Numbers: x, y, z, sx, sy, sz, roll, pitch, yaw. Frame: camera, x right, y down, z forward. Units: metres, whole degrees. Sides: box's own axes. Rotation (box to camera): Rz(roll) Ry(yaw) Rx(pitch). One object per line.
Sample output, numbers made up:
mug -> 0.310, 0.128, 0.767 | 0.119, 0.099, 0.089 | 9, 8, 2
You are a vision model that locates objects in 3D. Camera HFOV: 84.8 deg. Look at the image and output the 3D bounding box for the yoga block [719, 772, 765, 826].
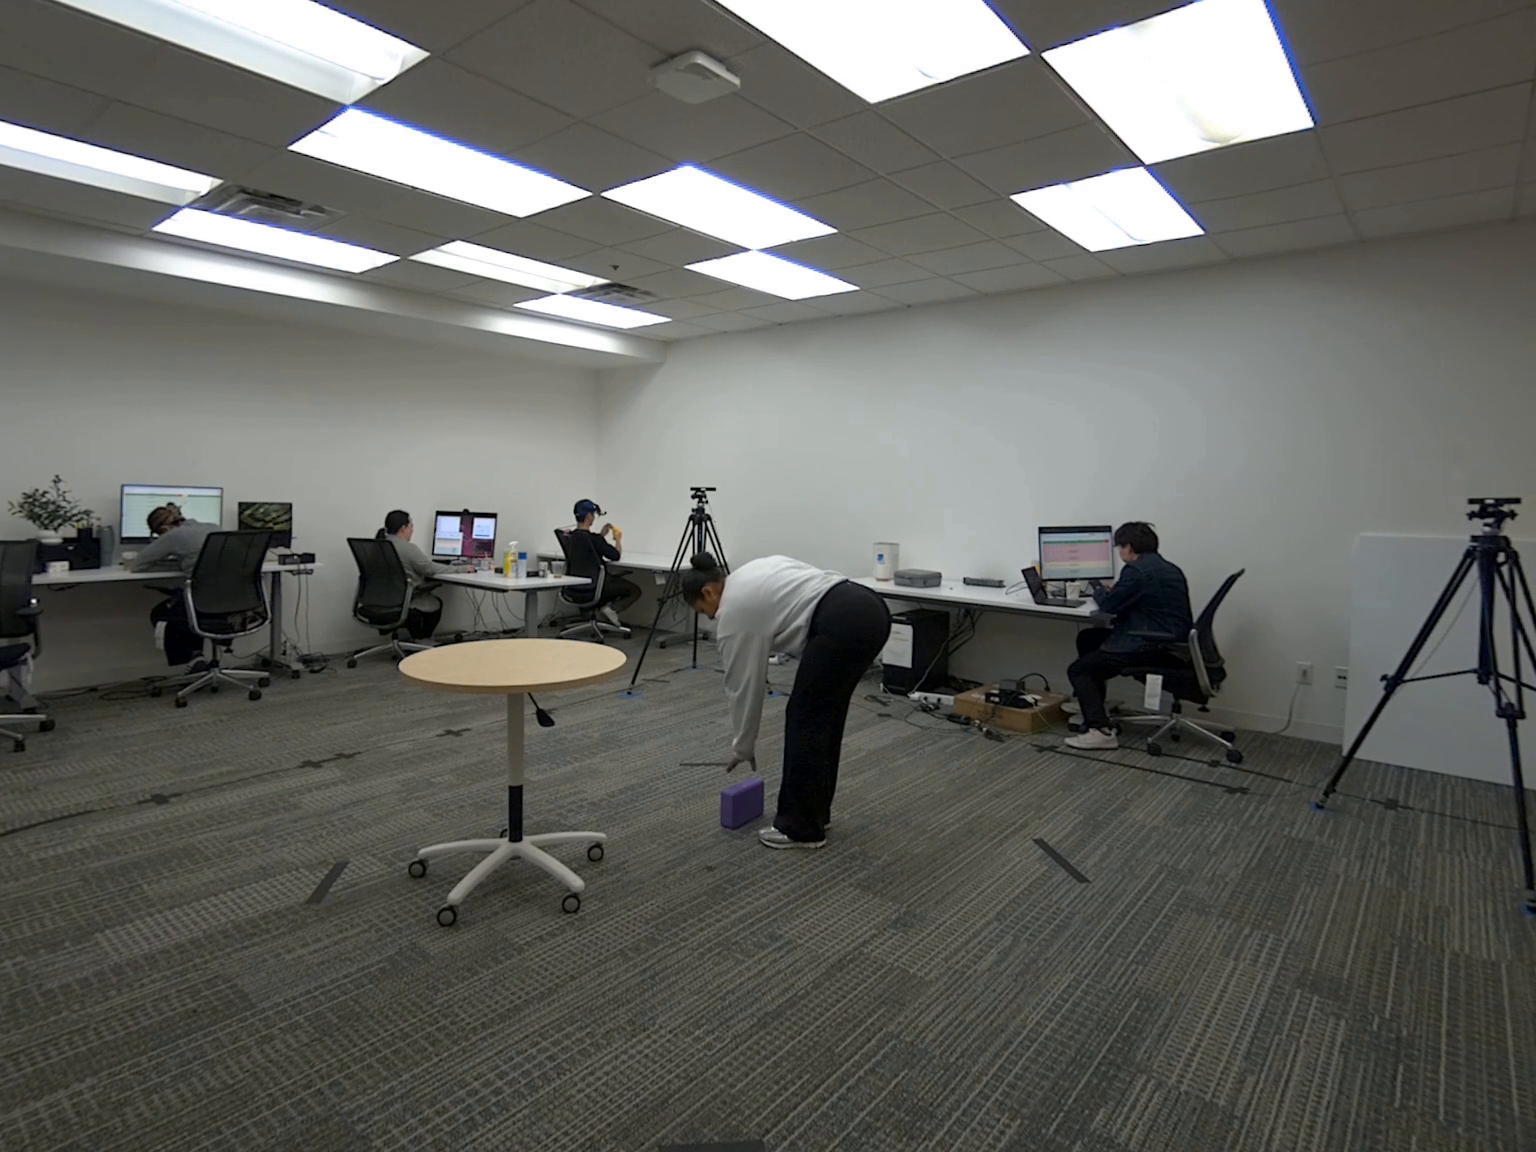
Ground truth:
yoga block -> -0.112, 0.940, 3.570 | 0.079, 0.149, 0.223 | 1, 3, 33
